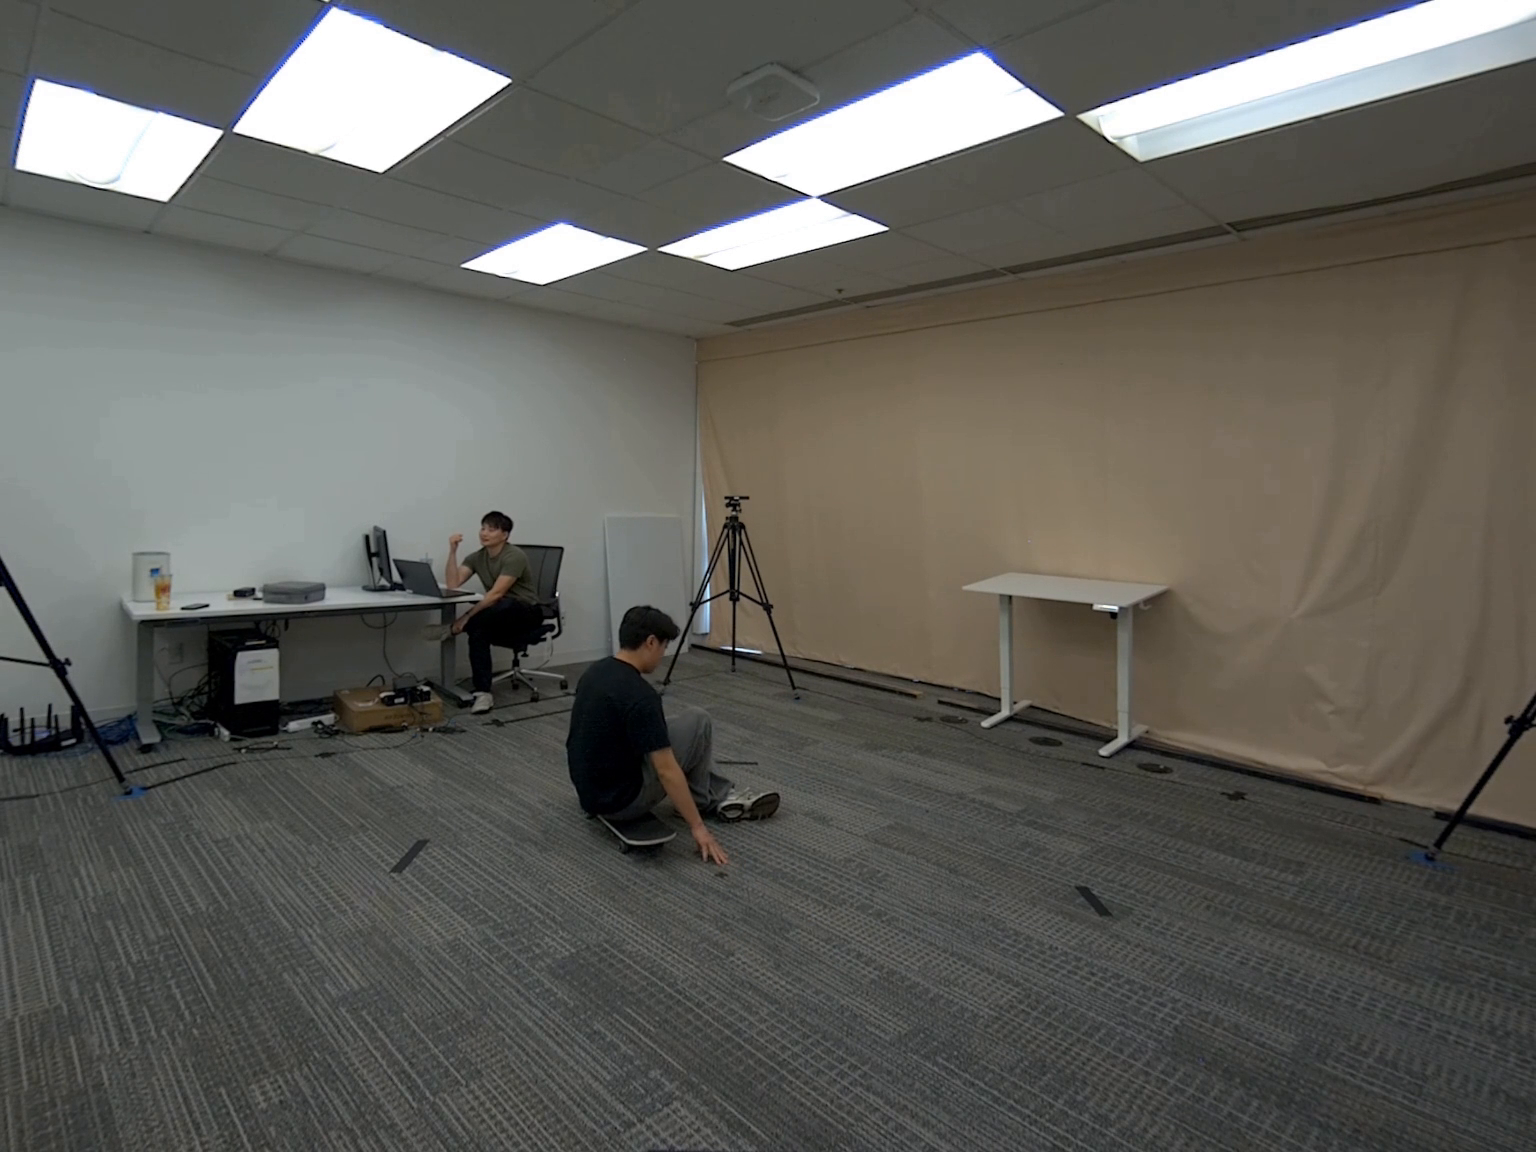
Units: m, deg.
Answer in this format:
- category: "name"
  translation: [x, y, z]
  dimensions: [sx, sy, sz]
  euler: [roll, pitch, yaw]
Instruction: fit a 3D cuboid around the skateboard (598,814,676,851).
- category: "skateboard"
  translation: [-0.606, 1.000, 3.491]
  dimensions: [0.190, 0.110, 0.803]
  euler: [-7, 8, -30]
